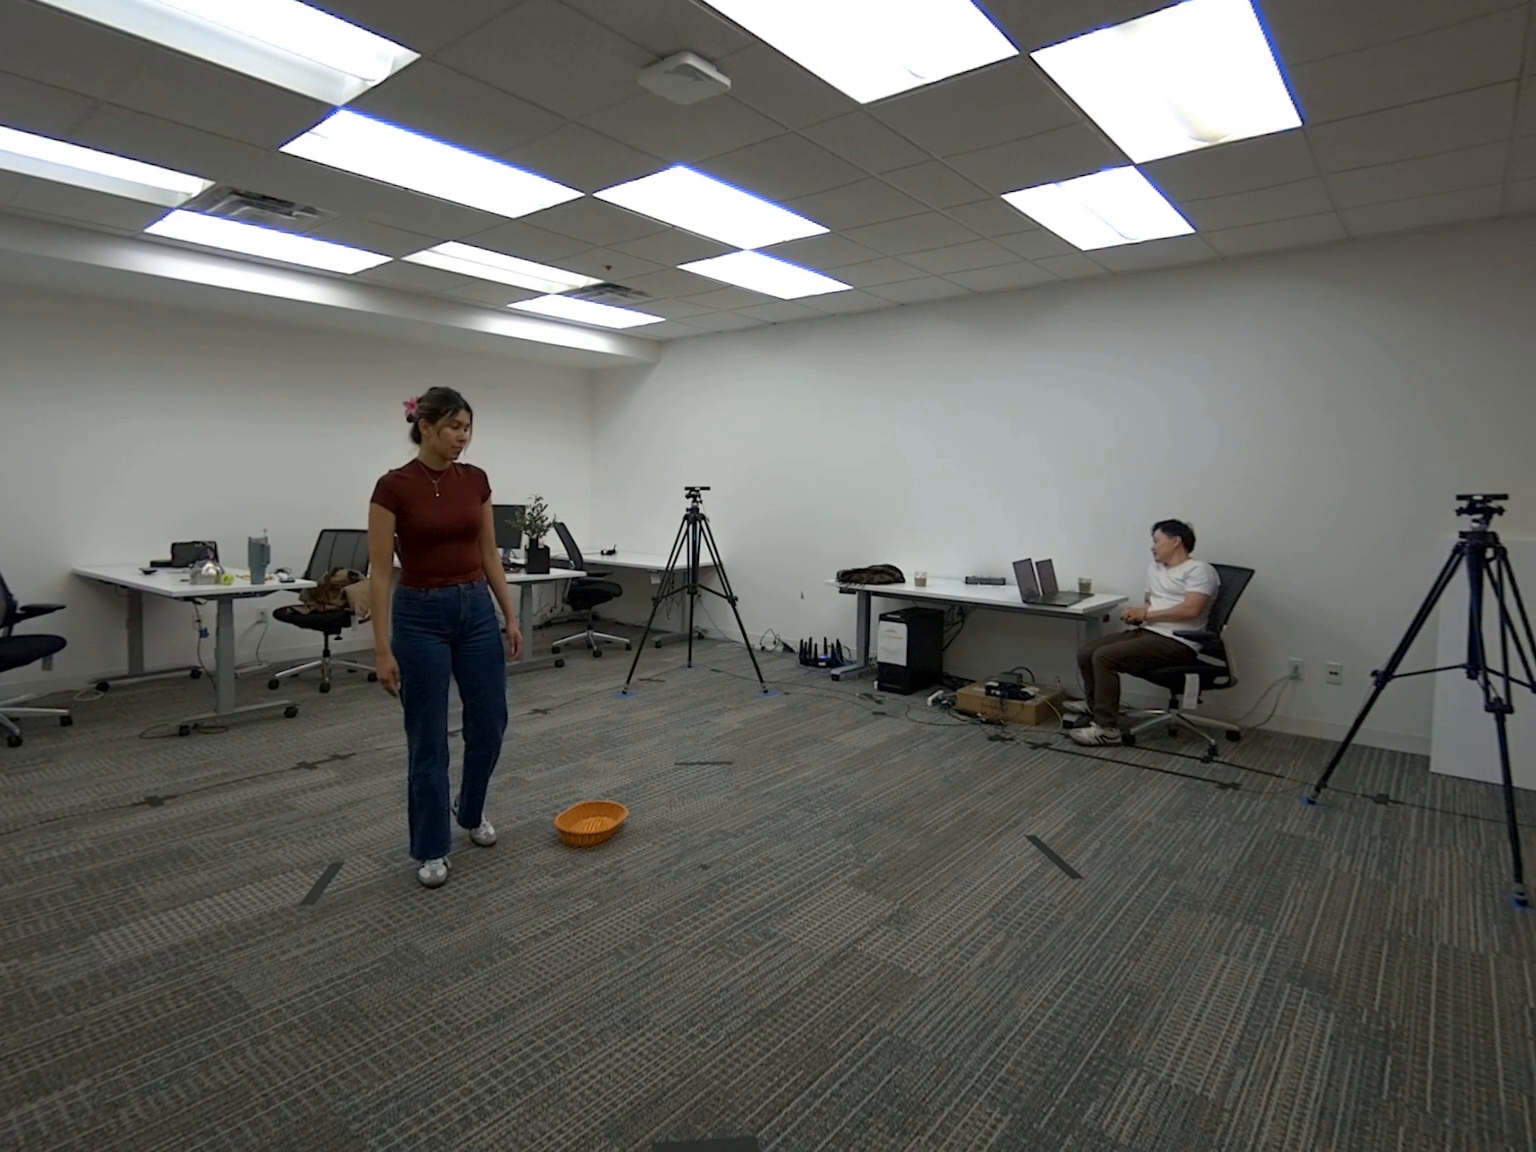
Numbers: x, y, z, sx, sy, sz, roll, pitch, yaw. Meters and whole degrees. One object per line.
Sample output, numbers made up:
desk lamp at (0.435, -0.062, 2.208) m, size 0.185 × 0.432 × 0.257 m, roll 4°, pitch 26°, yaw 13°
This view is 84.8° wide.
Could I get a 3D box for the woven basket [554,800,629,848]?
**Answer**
woven basket at (-0.717, 0.989, 3.406) m, size 0.258 × 0.073 × 0.344 m, roll 5°, pitch 6°, yaw 21°
